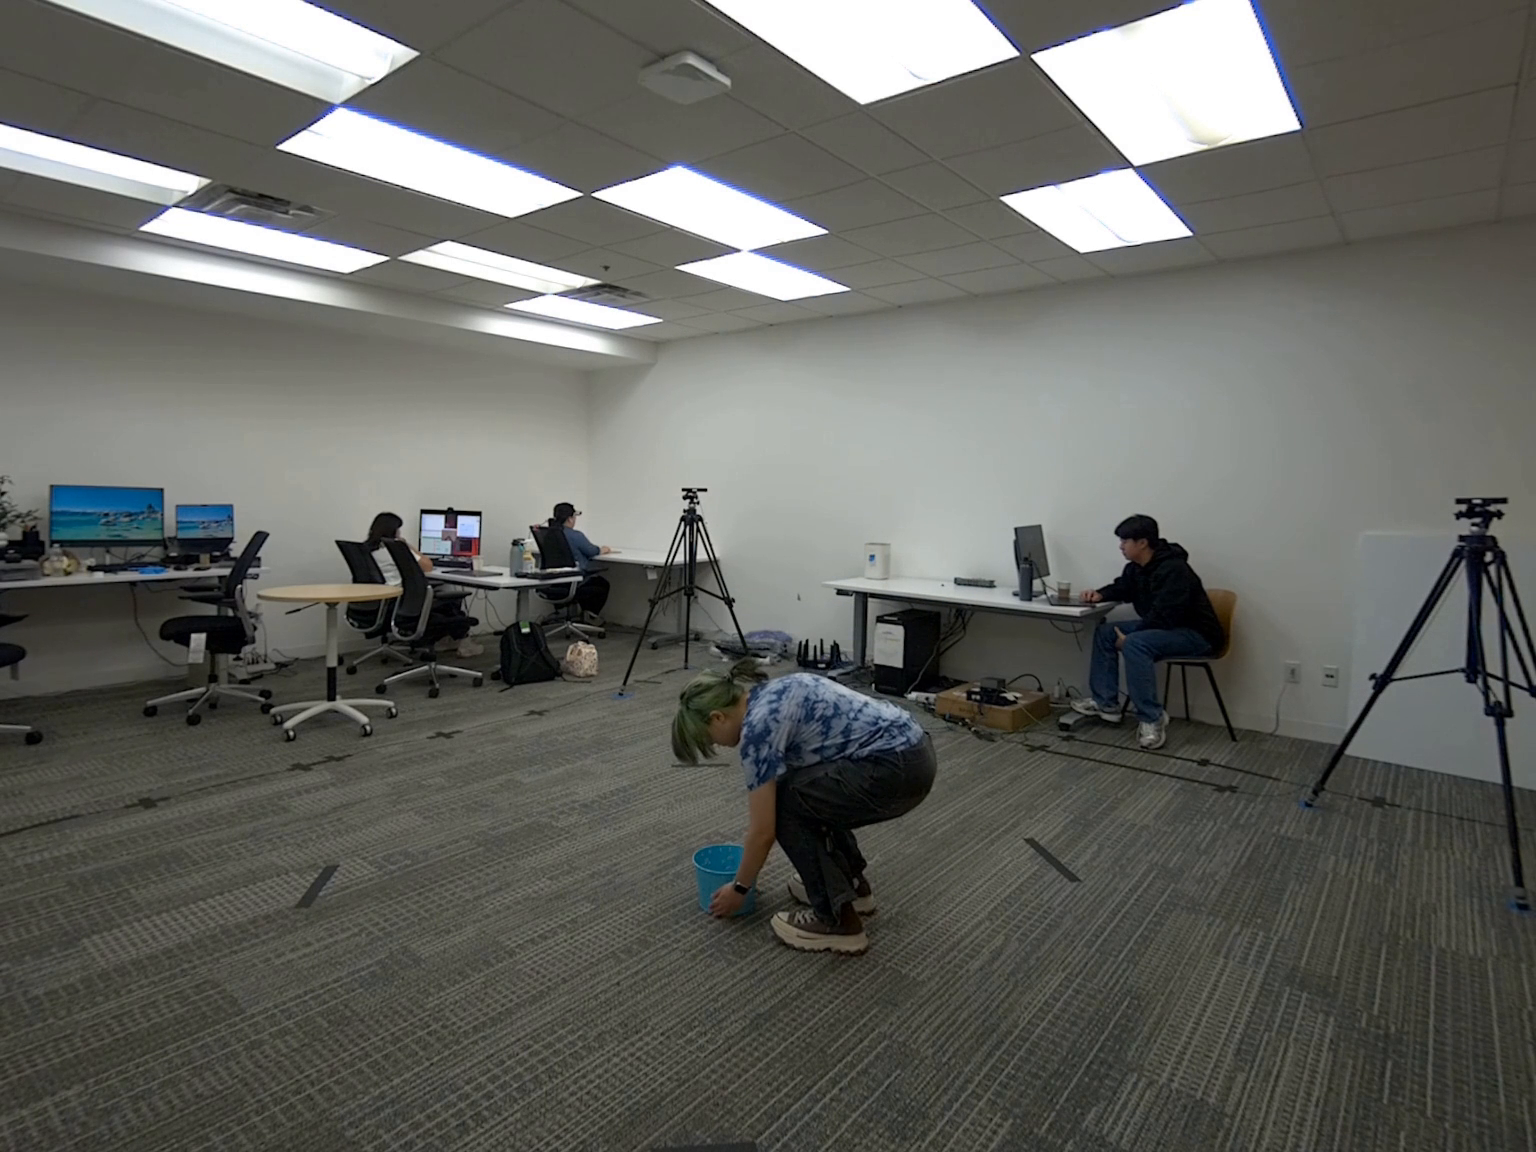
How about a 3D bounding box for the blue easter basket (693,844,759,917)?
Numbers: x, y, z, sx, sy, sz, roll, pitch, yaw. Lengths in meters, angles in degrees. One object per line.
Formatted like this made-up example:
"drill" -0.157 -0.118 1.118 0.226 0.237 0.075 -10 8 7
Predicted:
"blue easter basket" -0.144 1.016 2.864 0.243 0.155 0.245 1 4 -2
